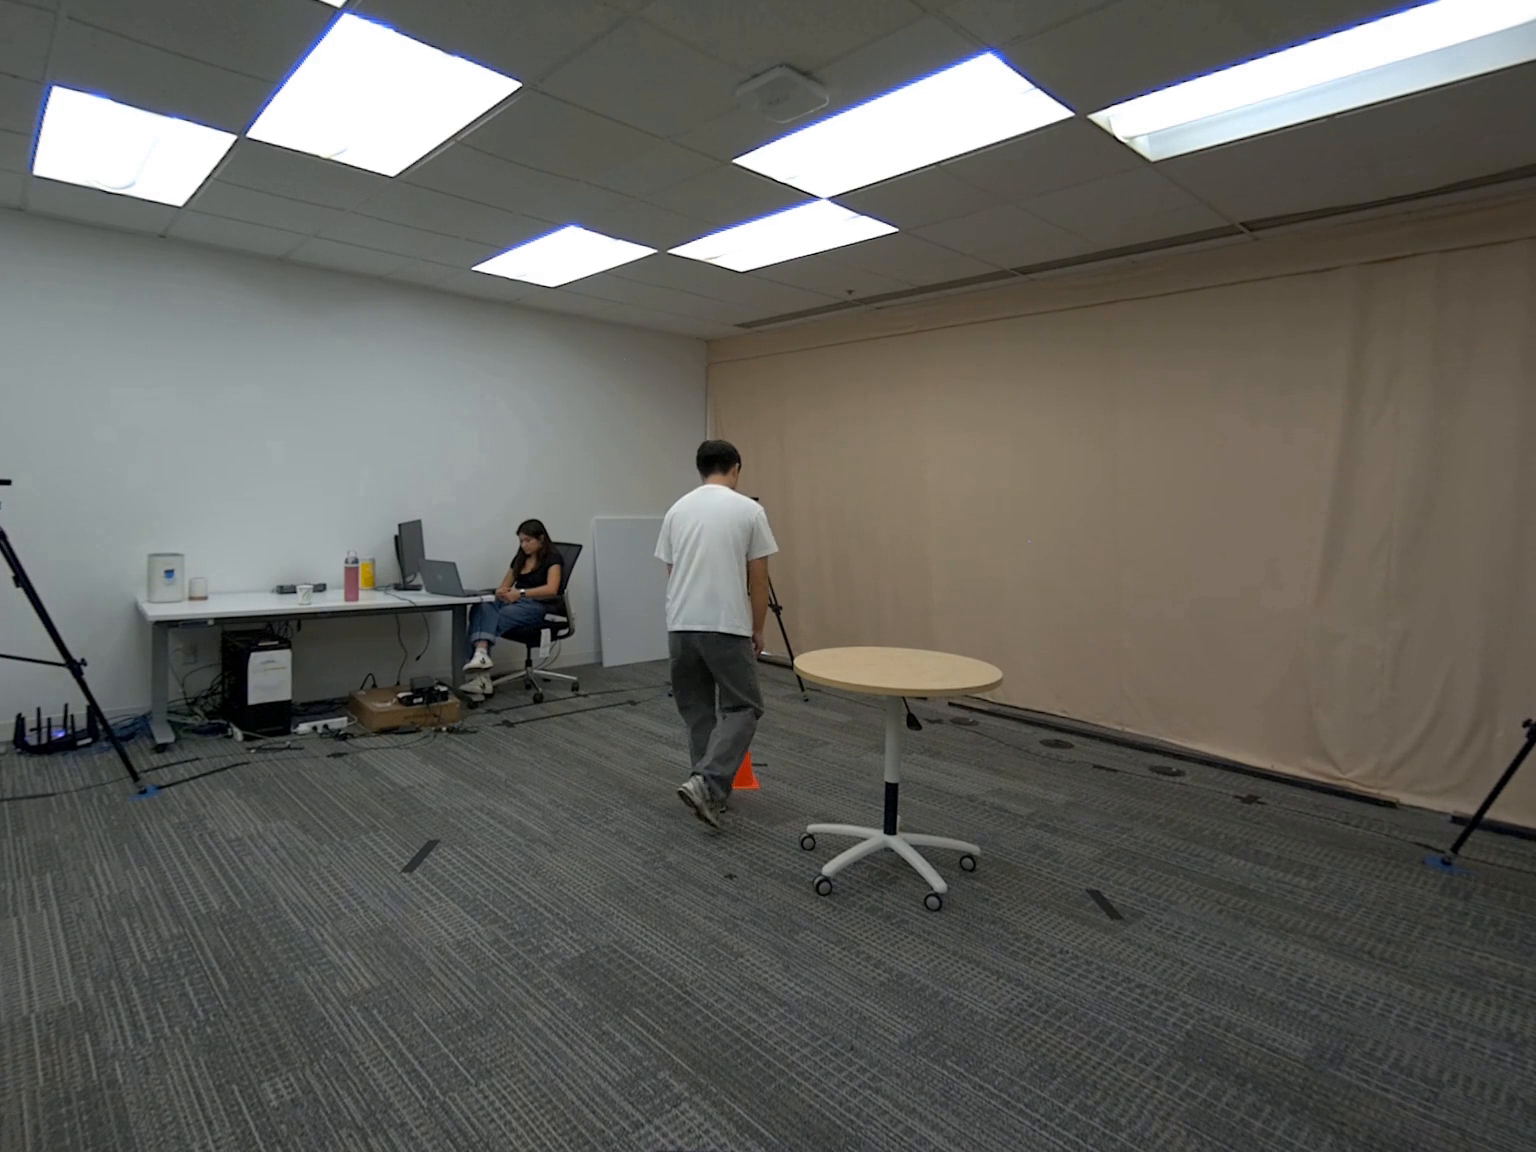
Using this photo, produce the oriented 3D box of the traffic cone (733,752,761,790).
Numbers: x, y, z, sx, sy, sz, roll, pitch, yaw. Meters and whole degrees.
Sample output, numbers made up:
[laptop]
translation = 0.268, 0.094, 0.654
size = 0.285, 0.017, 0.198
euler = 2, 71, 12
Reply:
[traffic cone]
translation = -0.158, 0.839, 4.169
size = 0.202, 0.383, 0.206
euler = 2, 1, -9
